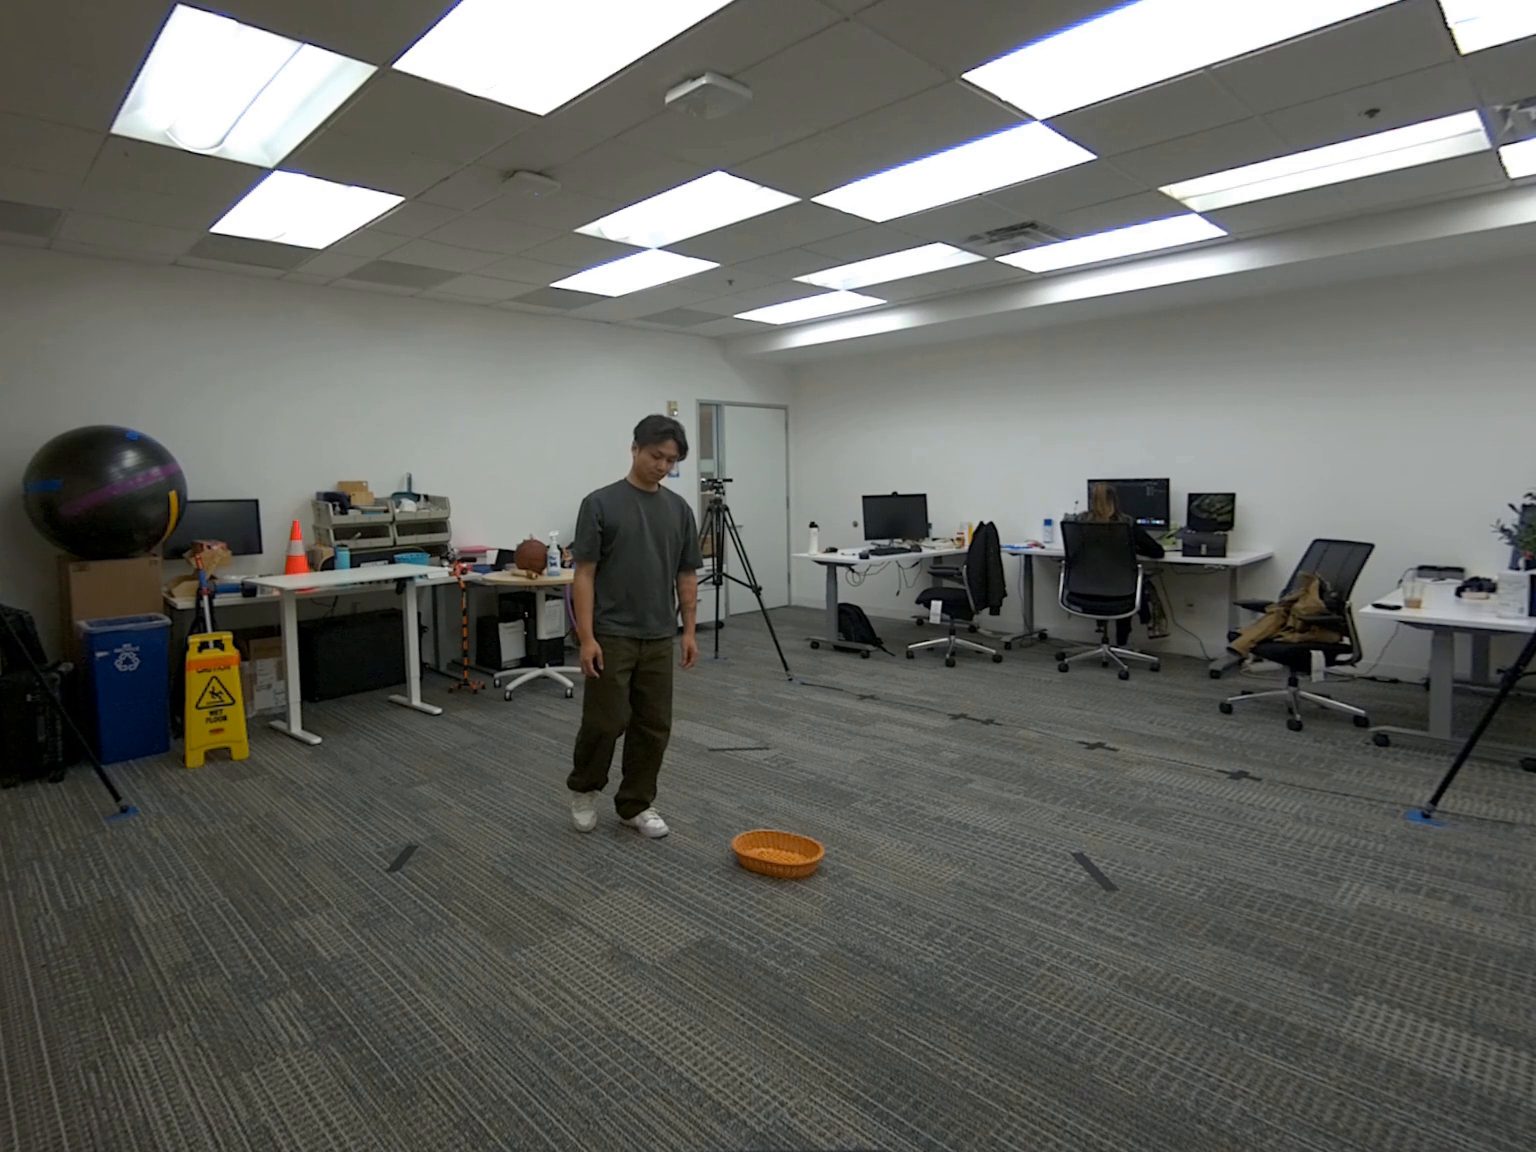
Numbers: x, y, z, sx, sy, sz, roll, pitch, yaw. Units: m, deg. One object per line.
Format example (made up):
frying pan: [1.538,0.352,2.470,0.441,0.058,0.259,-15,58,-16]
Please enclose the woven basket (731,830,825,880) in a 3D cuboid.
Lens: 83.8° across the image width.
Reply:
woven basket: [0.036,1.004,3.094,0.360,0.073,0.247,3,7,31]
